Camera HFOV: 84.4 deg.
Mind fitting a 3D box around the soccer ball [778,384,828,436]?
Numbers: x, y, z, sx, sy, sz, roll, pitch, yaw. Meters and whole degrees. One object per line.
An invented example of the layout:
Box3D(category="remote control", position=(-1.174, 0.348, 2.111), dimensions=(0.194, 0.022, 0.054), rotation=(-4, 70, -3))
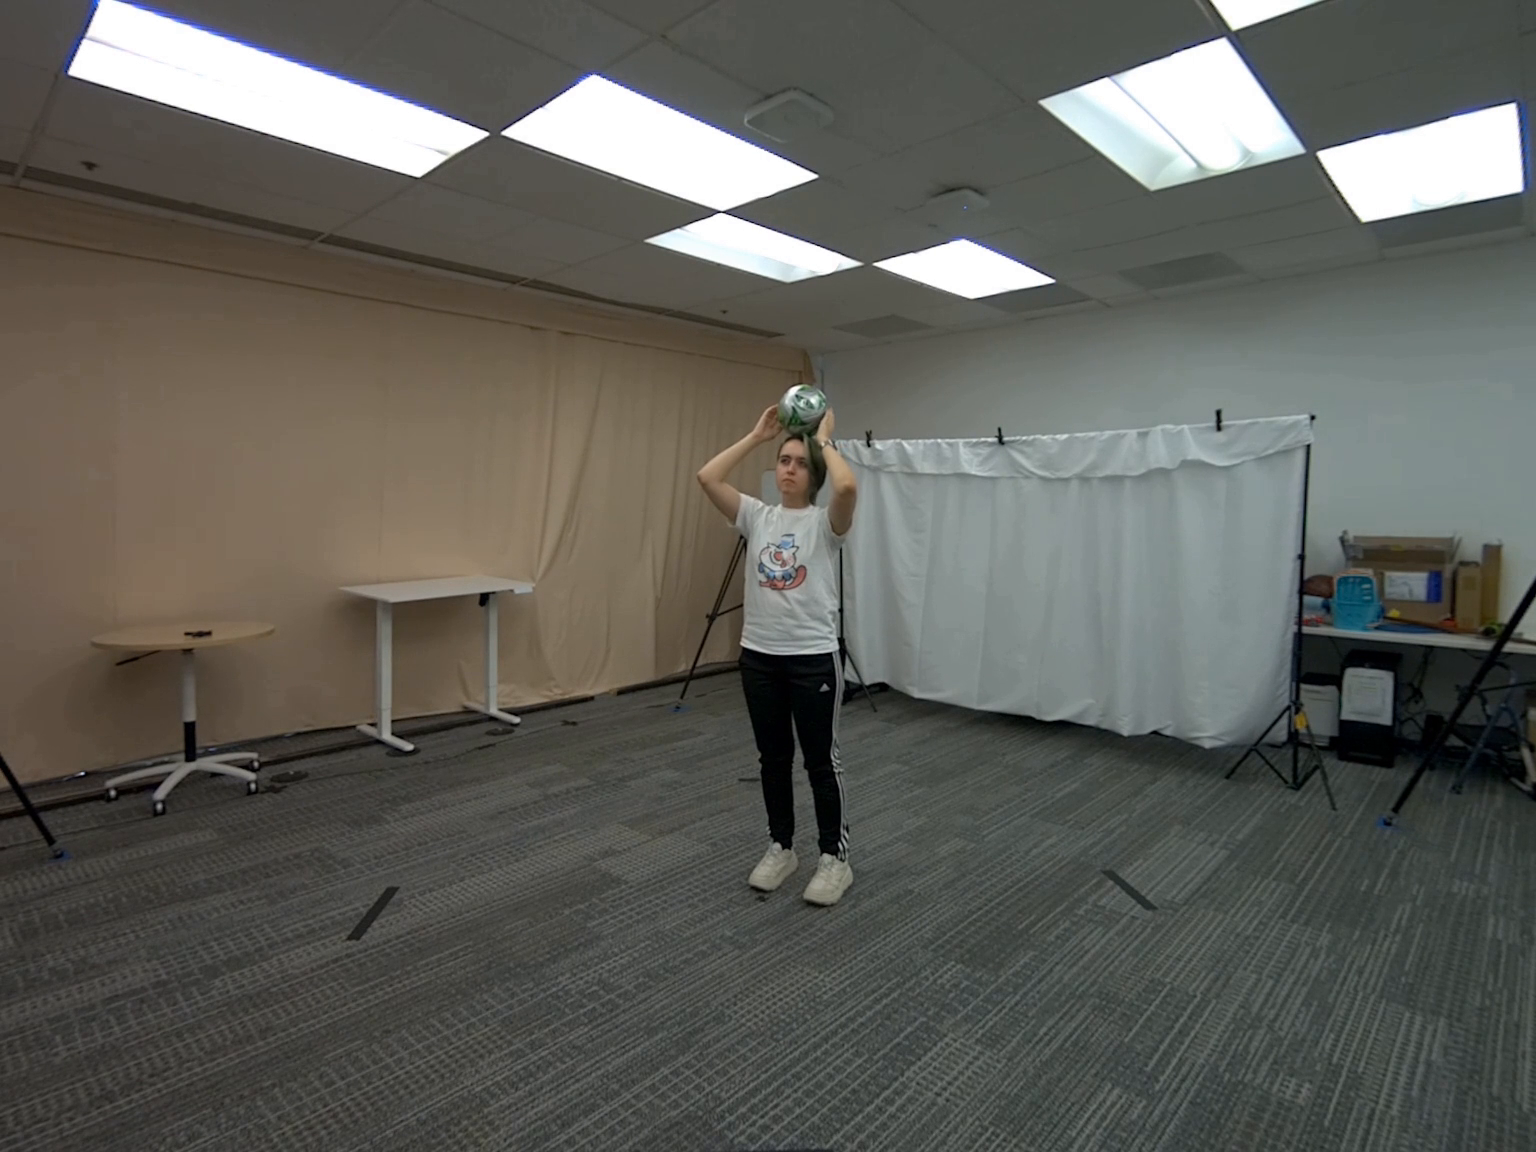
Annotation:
Box3D(category="soccer ball", position=(0.134, -0.586, 3.011), dimensions=(0.187, 0.187, 0.188), rotation=(0, 4, -2))
